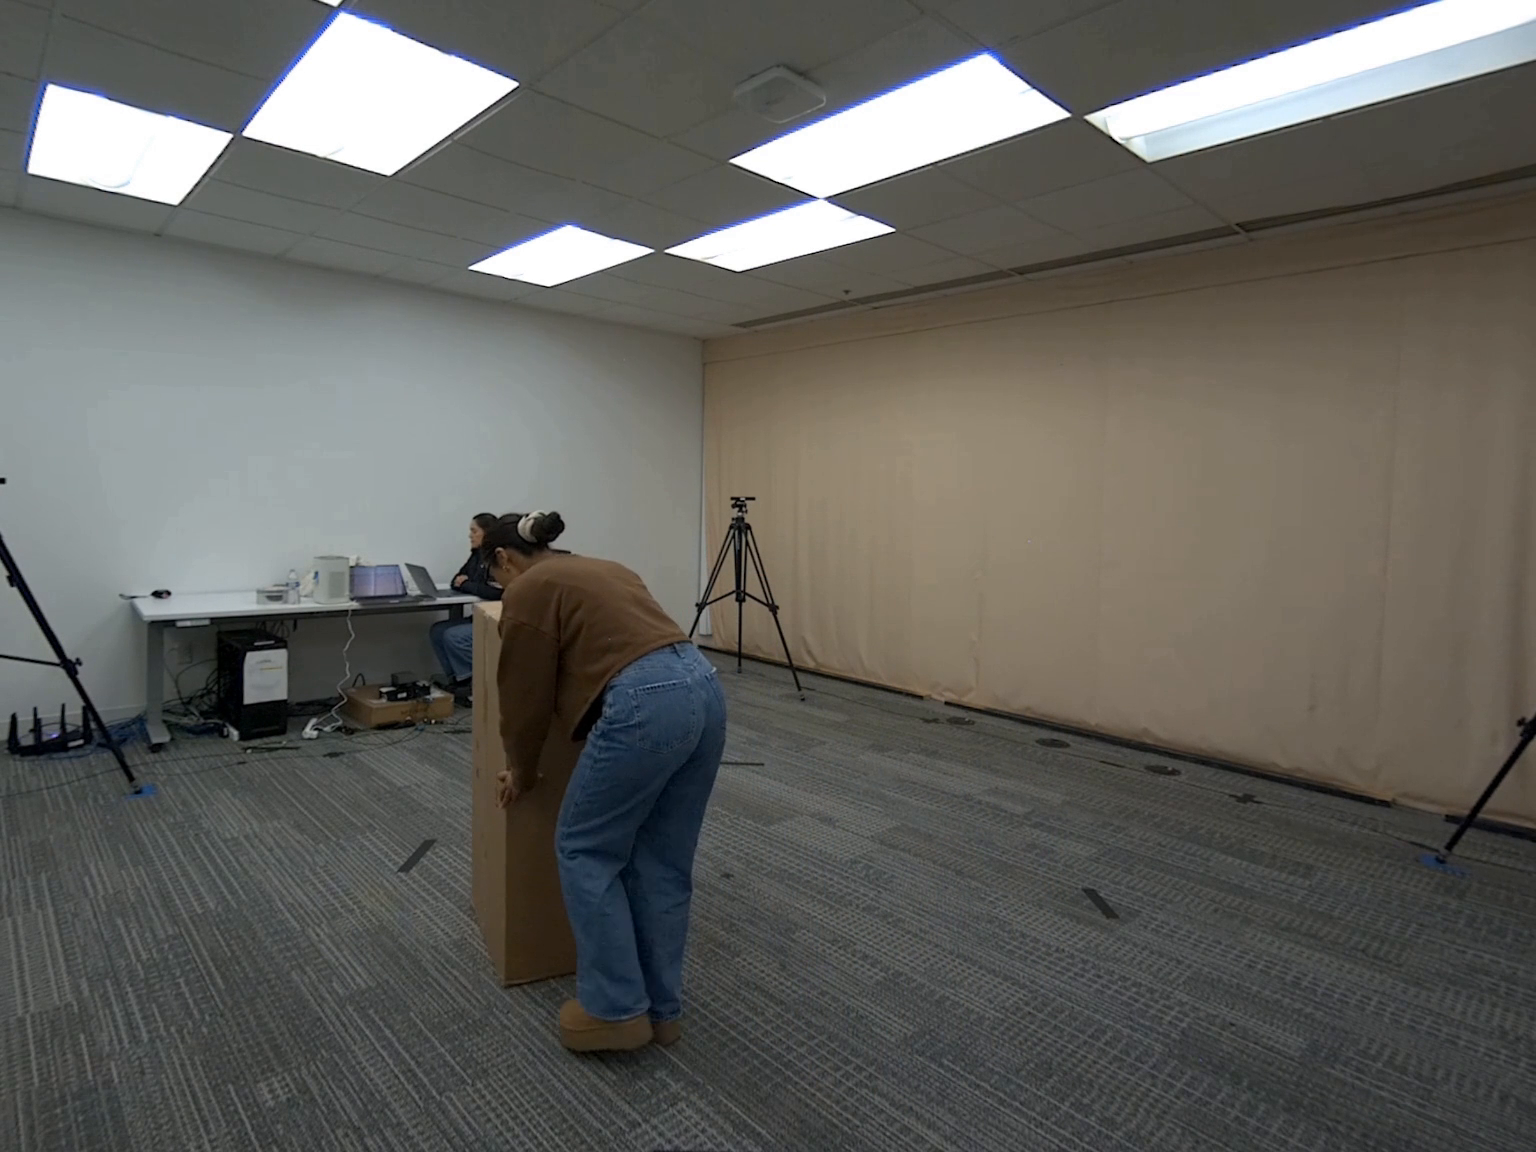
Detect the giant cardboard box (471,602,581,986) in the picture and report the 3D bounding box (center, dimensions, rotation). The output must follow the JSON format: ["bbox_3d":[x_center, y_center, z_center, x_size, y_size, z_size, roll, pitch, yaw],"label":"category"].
[{"bbox_3d":[-0.688,0.630,2.685,0.418,1.024,0.590,0,2,-28],"label":"giant cardboard box"}]
